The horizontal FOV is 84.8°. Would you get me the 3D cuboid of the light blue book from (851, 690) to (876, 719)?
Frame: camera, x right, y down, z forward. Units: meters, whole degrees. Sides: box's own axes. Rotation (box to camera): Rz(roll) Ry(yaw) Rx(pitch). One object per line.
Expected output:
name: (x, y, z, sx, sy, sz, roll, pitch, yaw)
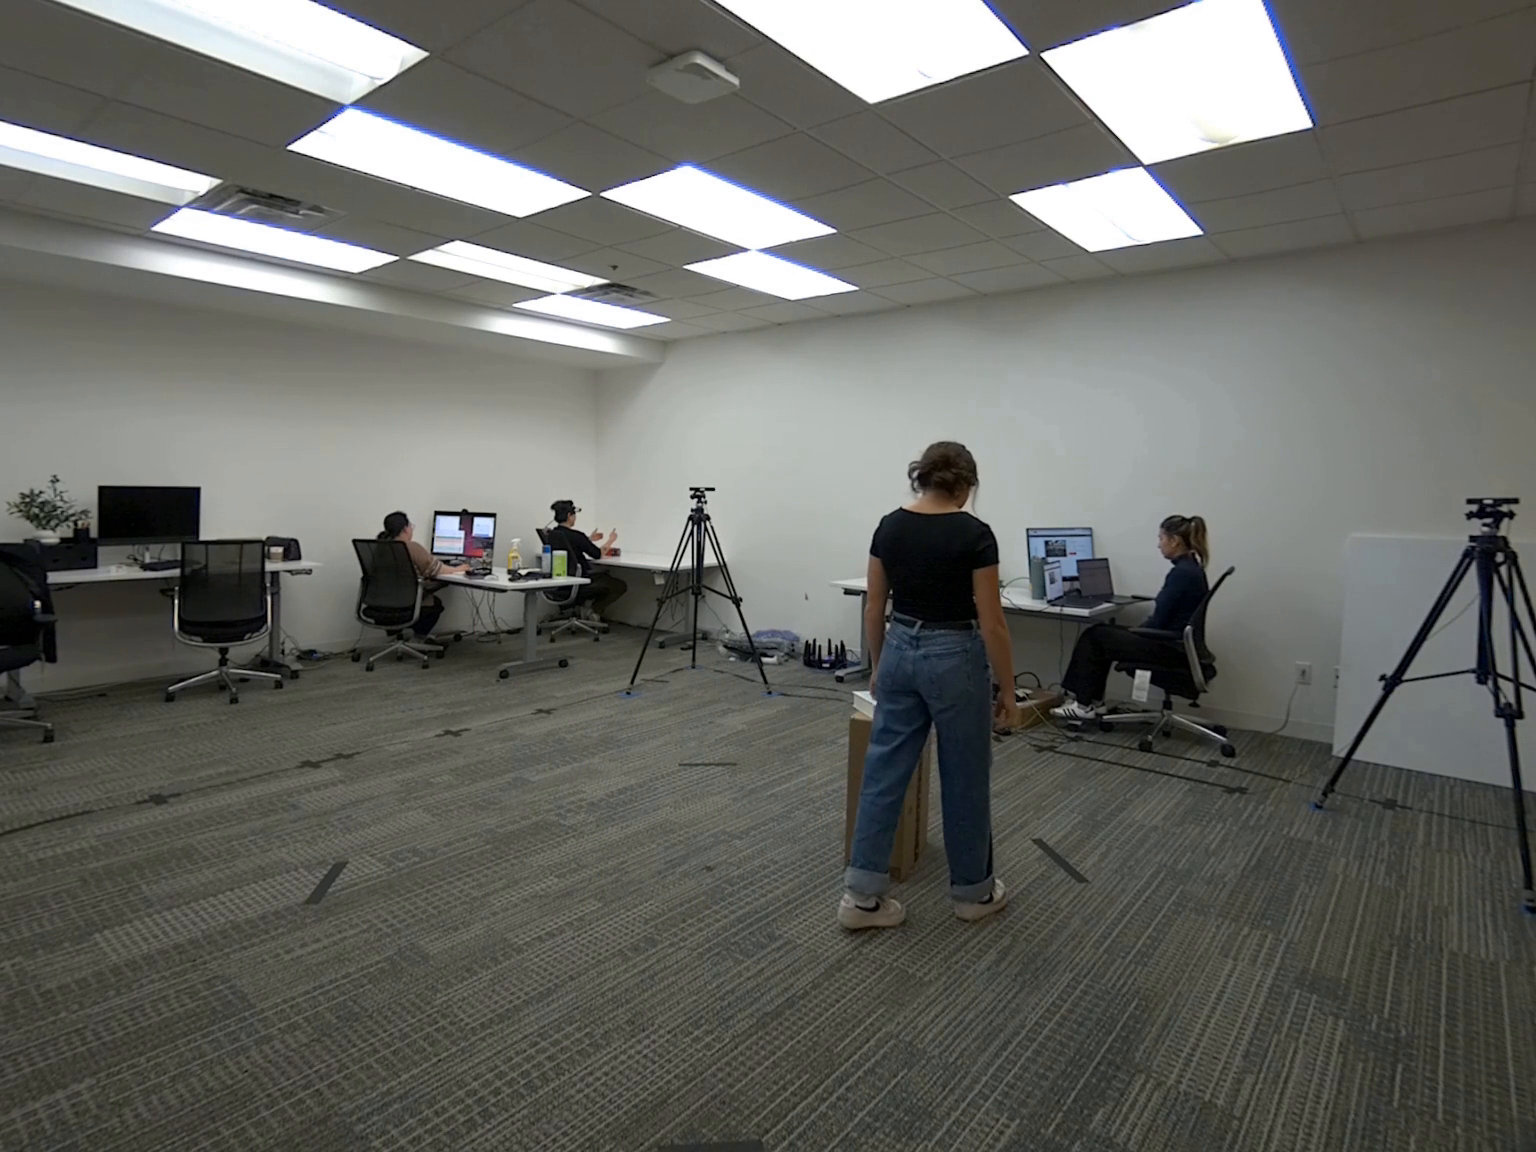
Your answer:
light blue book: (0.481, 0.481, 3.195, 0.256, 0.059, 0.195, 0, 6, -17)
